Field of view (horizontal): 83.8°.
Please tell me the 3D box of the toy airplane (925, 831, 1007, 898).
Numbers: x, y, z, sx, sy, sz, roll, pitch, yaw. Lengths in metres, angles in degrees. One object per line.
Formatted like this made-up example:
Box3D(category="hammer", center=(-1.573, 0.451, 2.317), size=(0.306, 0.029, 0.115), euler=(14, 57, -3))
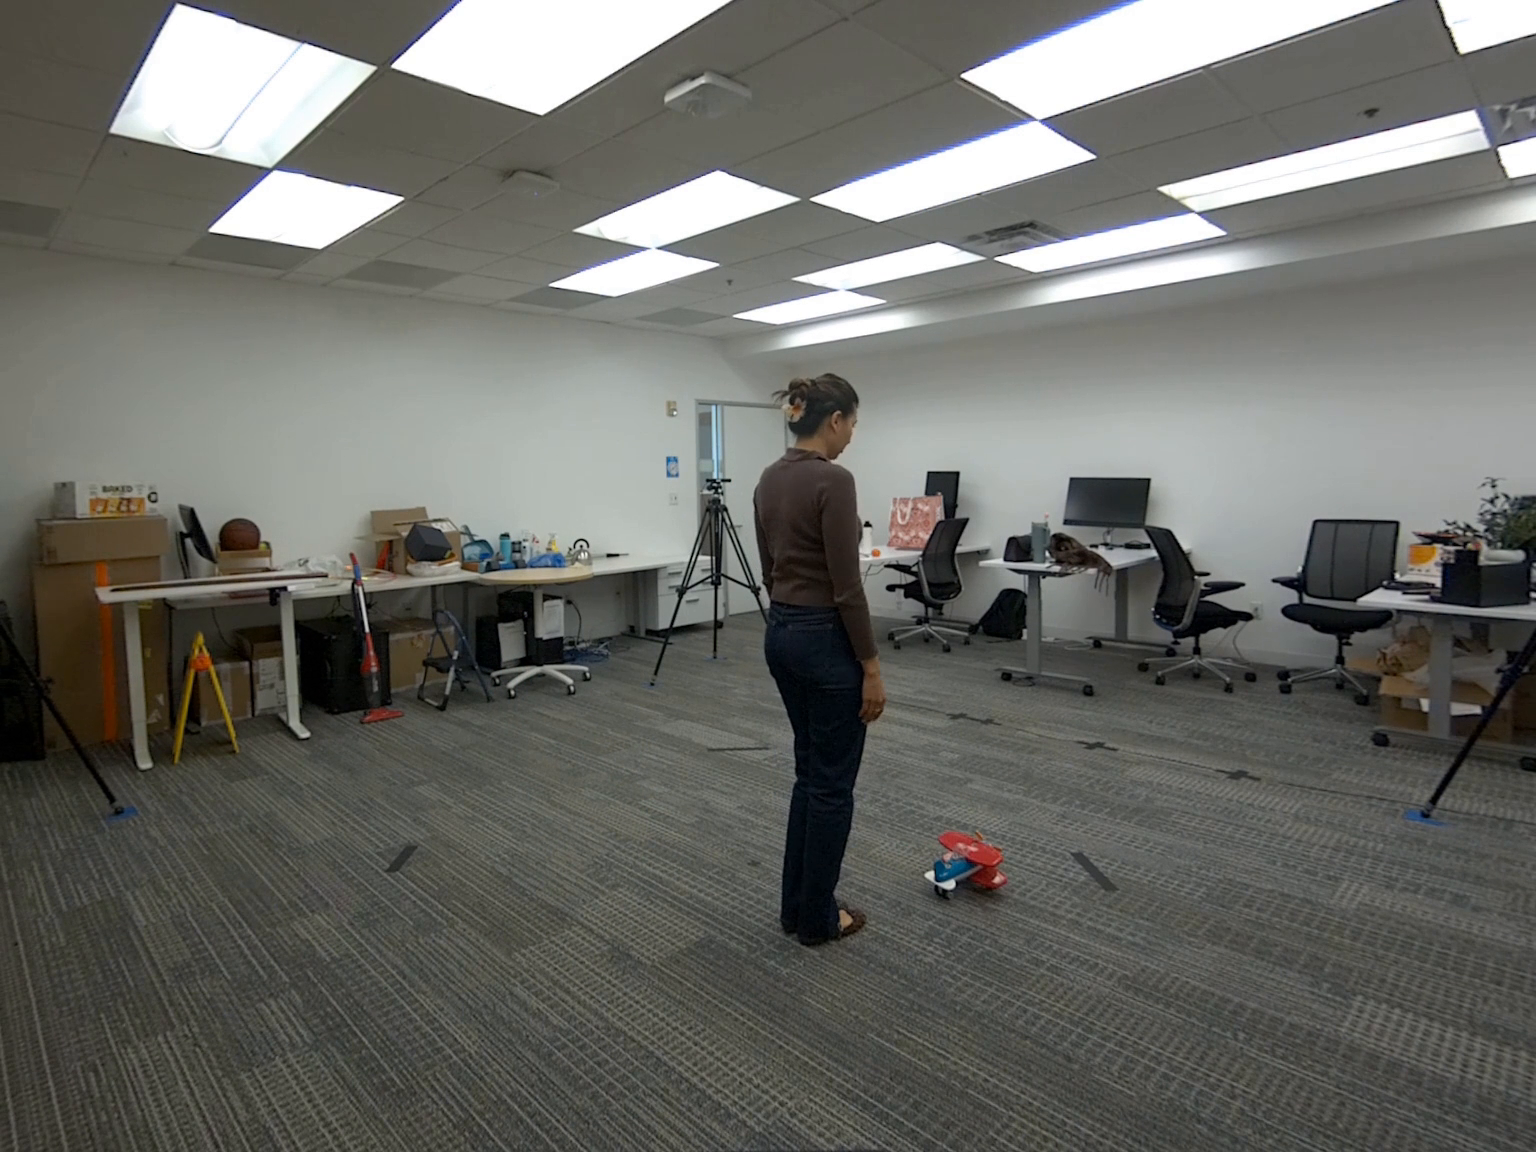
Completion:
Box3D(category="toy airplane", center=(0.676, 0.985, 2.863), size=(0.258, 0.156, 0.253), euler=(3, 6, 31))
